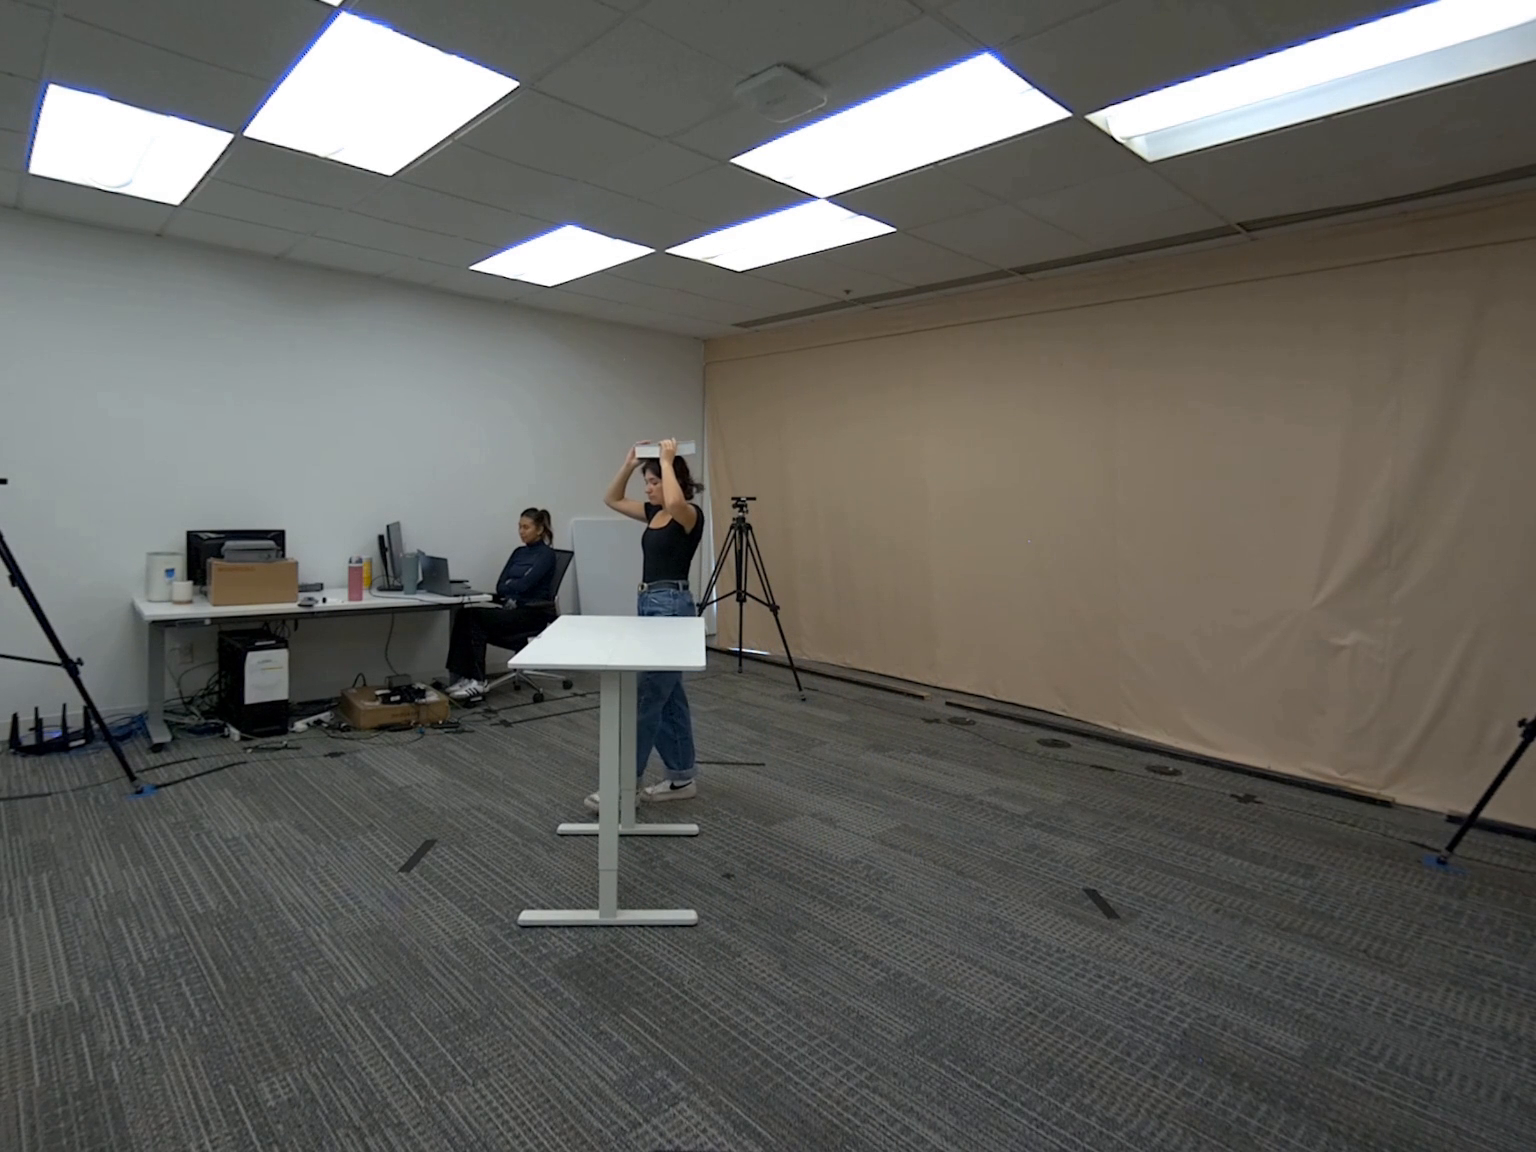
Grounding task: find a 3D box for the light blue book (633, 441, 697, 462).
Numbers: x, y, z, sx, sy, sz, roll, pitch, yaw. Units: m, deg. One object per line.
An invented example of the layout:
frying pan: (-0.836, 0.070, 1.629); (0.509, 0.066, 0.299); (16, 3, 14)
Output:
light blue book: (-0.476, -0.577, 3.811); (0.188, 0.058, 0.267); (-8, 10, -33)
